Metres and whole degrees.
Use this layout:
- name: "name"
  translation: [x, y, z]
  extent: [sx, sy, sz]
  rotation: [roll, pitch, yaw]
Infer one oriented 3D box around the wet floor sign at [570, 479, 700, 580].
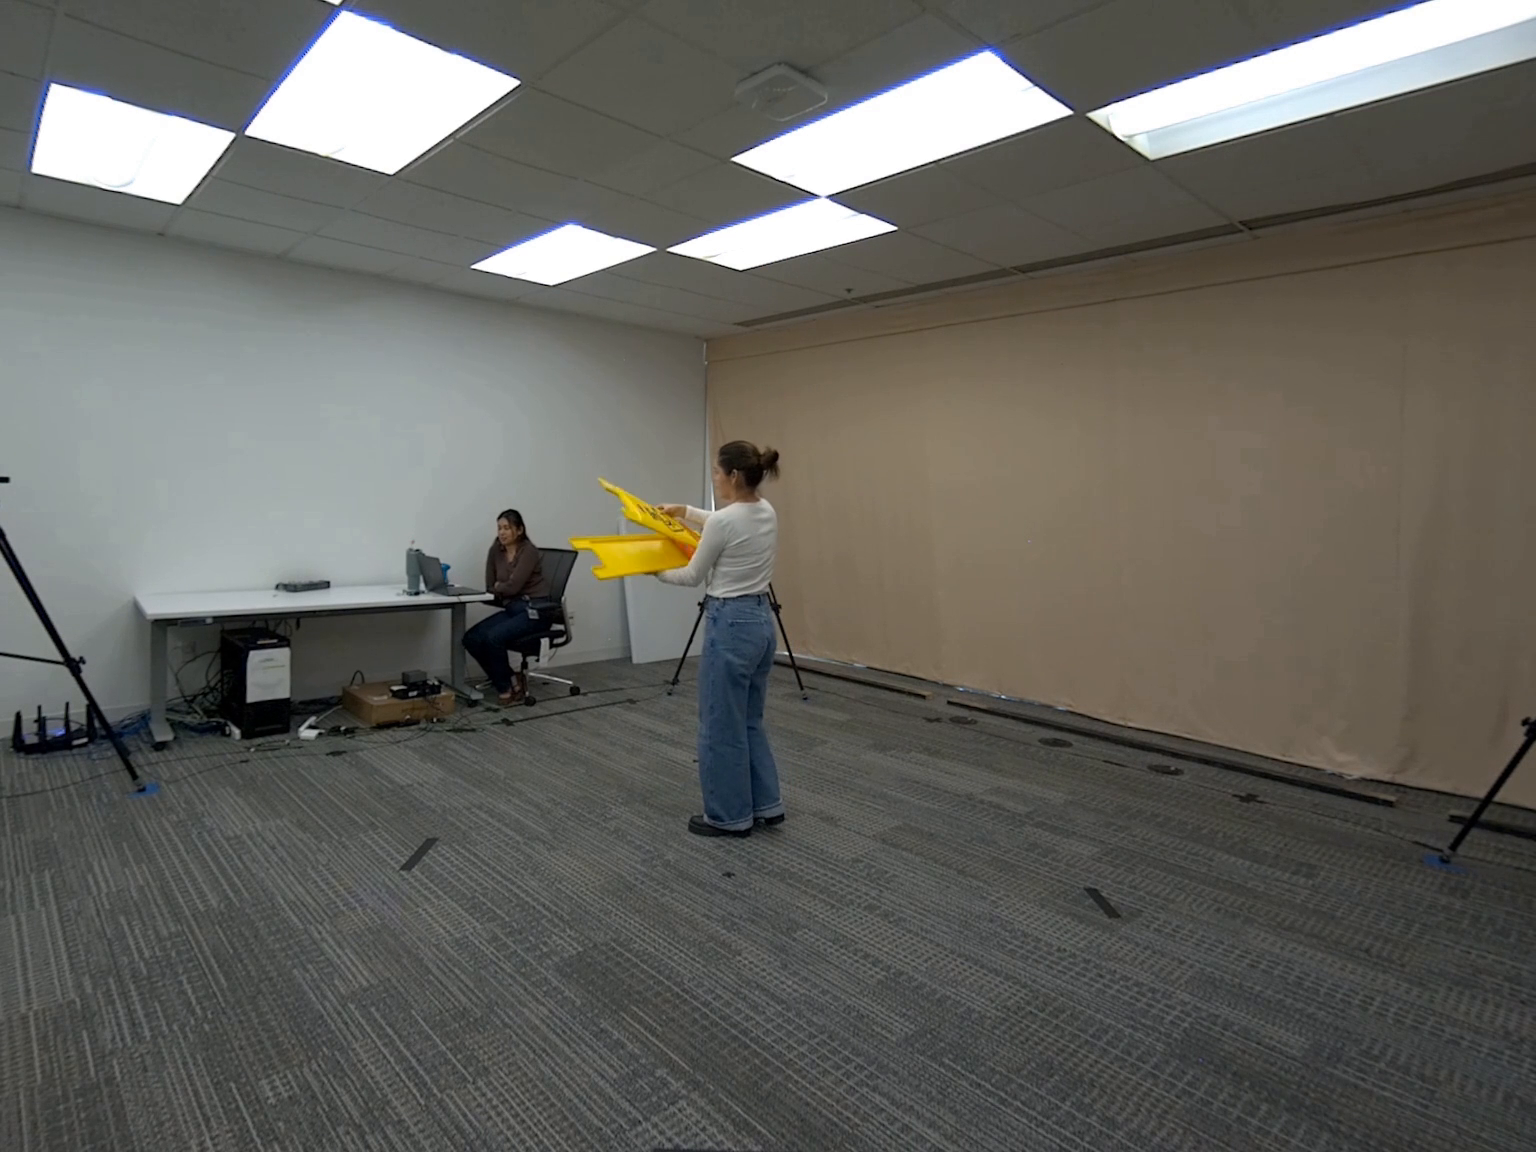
- name: "wet floor sign"
  translation: [-0.473, -0.158, 3.554]
  extent: [0.629, 0.288, 0.291]
  rotation: [7, 29, -47]
